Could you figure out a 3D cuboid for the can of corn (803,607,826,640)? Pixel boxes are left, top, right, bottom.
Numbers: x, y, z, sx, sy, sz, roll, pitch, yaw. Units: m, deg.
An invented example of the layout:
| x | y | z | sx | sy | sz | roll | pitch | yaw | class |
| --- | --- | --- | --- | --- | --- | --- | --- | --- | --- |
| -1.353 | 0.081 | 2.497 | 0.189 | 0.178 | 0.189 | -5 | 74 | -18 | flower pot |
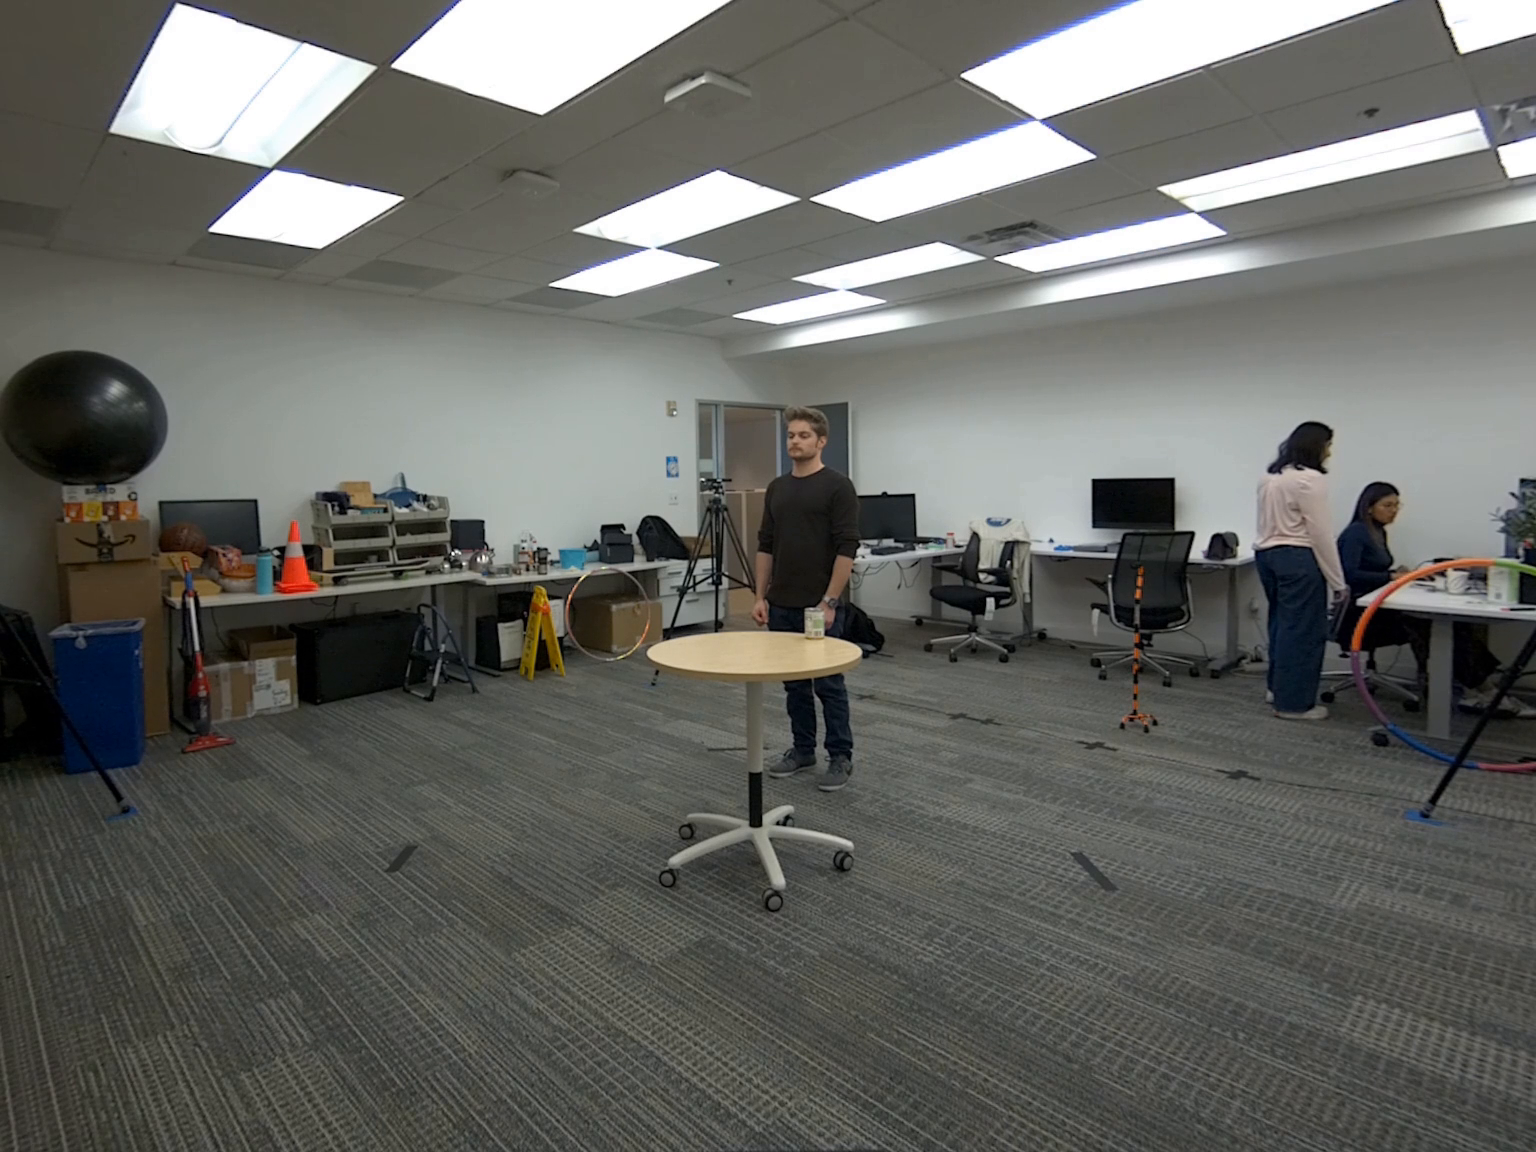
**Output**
| x | y | z | sx | sy | sz | roll | pitch | yaw | class |
| --- | --- | --- | --- | --- | --- | --- | --- | --- | --- |
| 0.186 | 0.186 | 3.273 | 0.074 | 0.111 | 0.074 | -1 | 2 | -2 | can of corn |
